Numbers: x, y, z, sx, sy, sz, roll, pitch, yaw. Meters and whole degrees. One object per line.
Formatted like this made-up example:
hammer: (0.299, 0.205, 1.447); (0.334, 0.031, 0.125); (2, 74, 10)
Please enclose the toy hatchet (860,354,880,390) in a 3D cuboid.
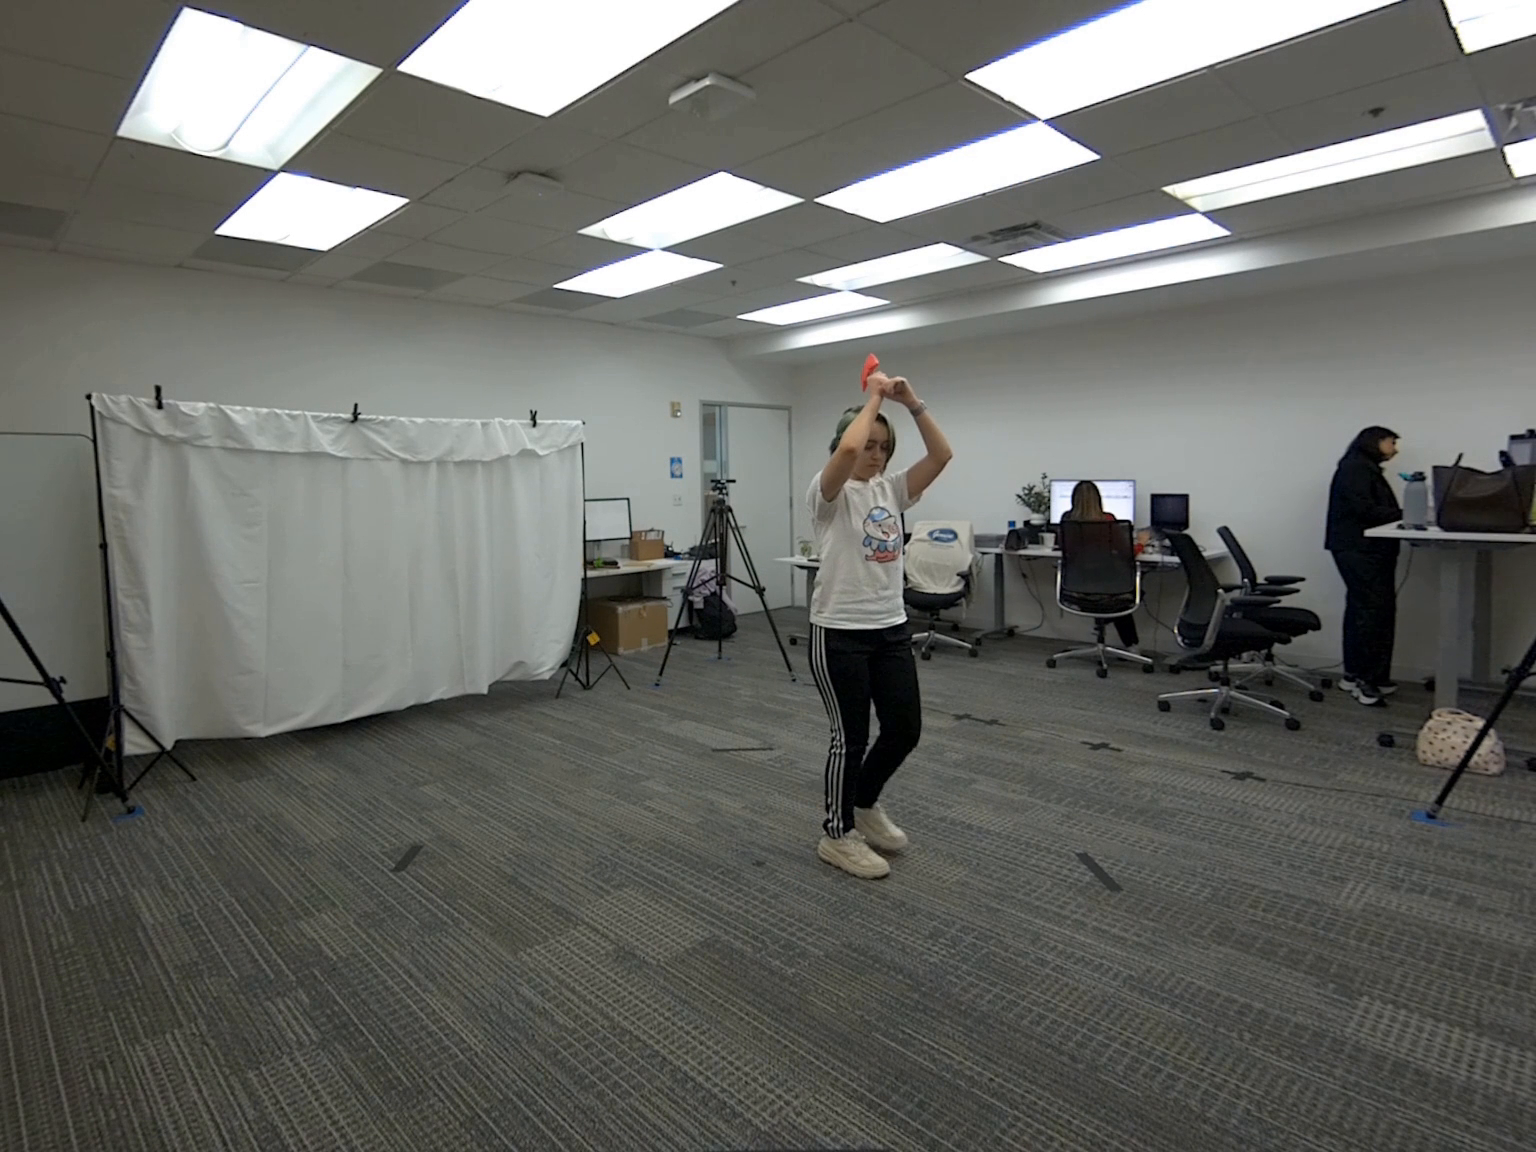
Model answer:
toy hatchet: (0.386, -0.681, 2.849); (0.029, 0.130, 0.277); (1, 11, -19)
